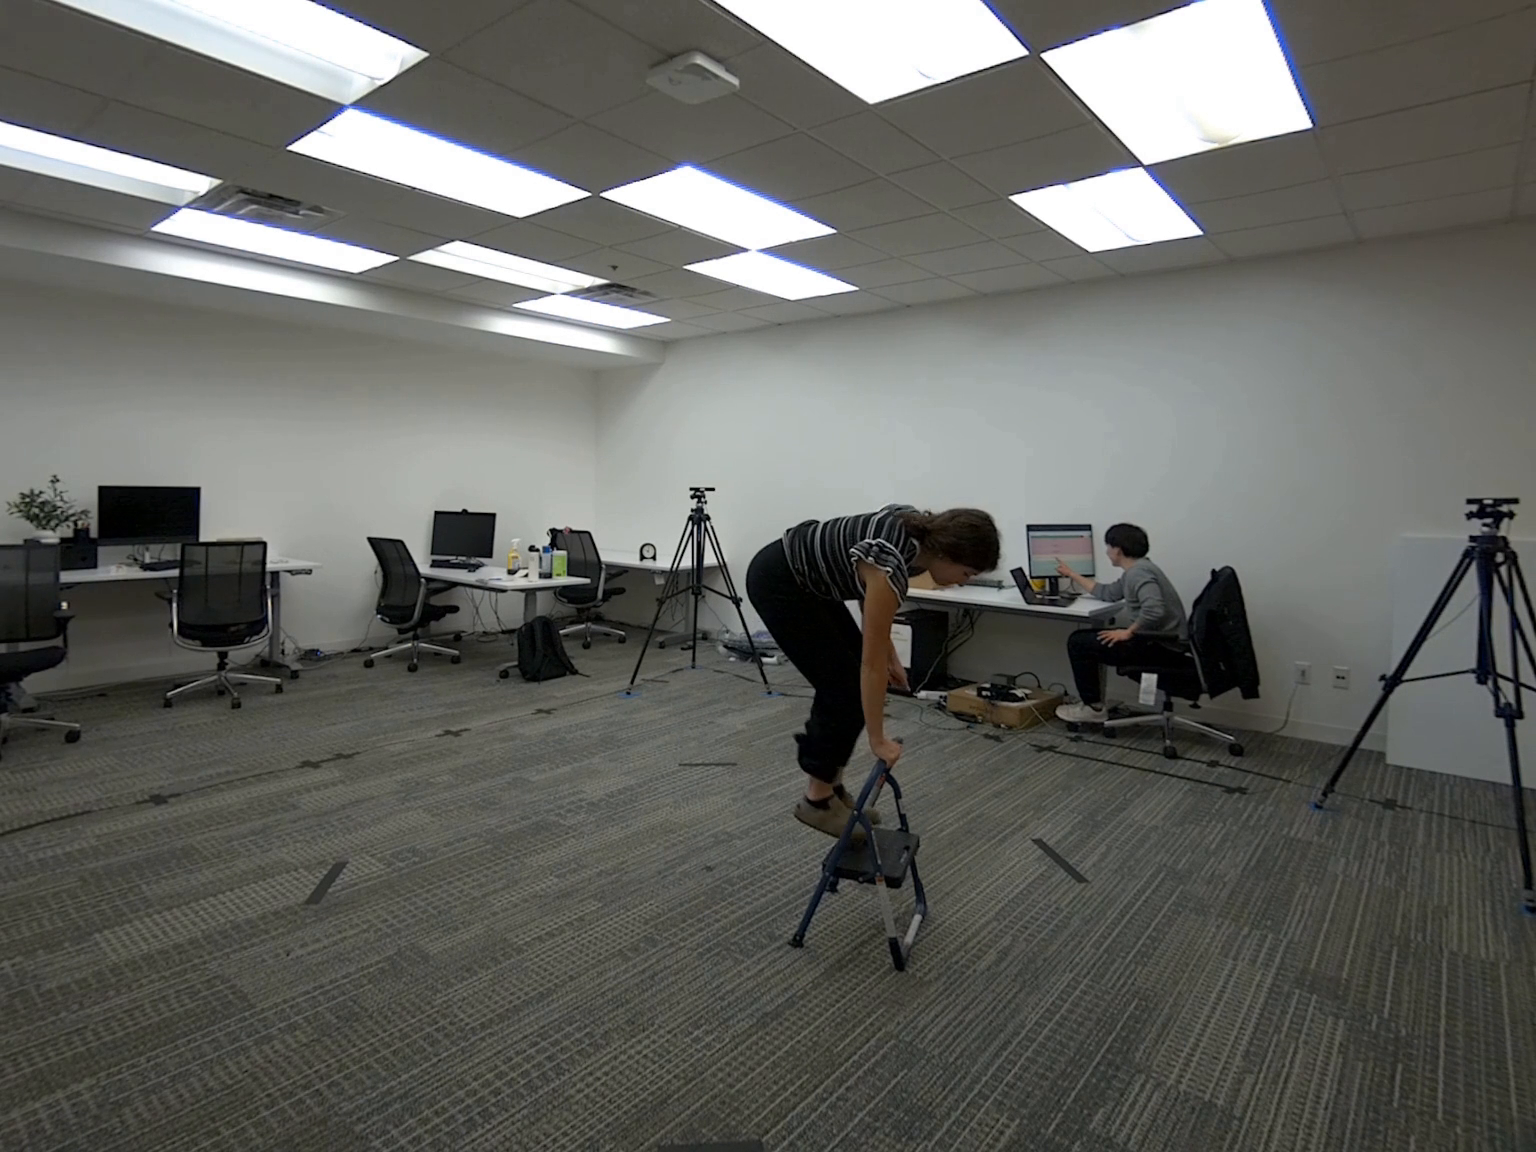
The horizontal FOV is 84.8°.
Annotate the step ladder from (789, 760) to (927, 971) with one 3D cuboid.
[{"bbox_3d":[0.302,0.817,2.702,0.357,0.604,0.422,3,4,21],"label":"step ladder"}]
